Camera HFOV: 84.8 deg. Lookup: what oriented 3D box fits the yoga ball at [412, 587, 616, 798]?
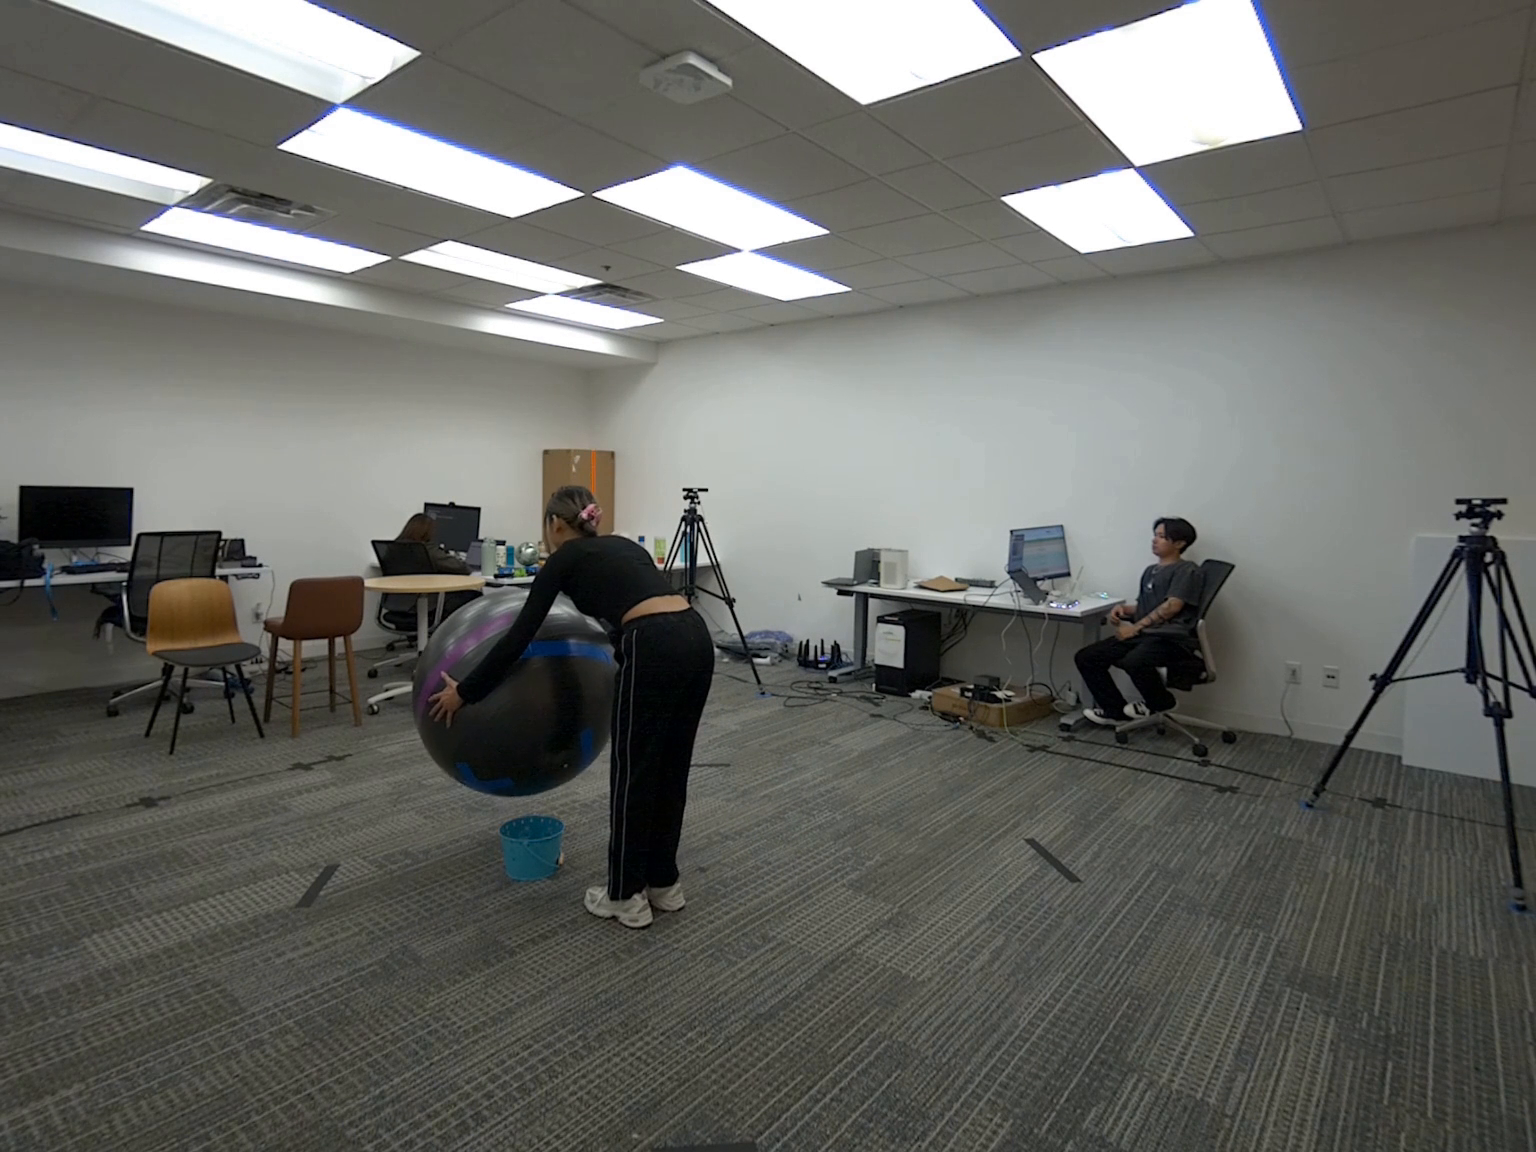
[{"bbox_3d":[-0.942,0.427,3.160,0.757,0.755,0.762,1,4,-2],"label":"yoga ball"}]
